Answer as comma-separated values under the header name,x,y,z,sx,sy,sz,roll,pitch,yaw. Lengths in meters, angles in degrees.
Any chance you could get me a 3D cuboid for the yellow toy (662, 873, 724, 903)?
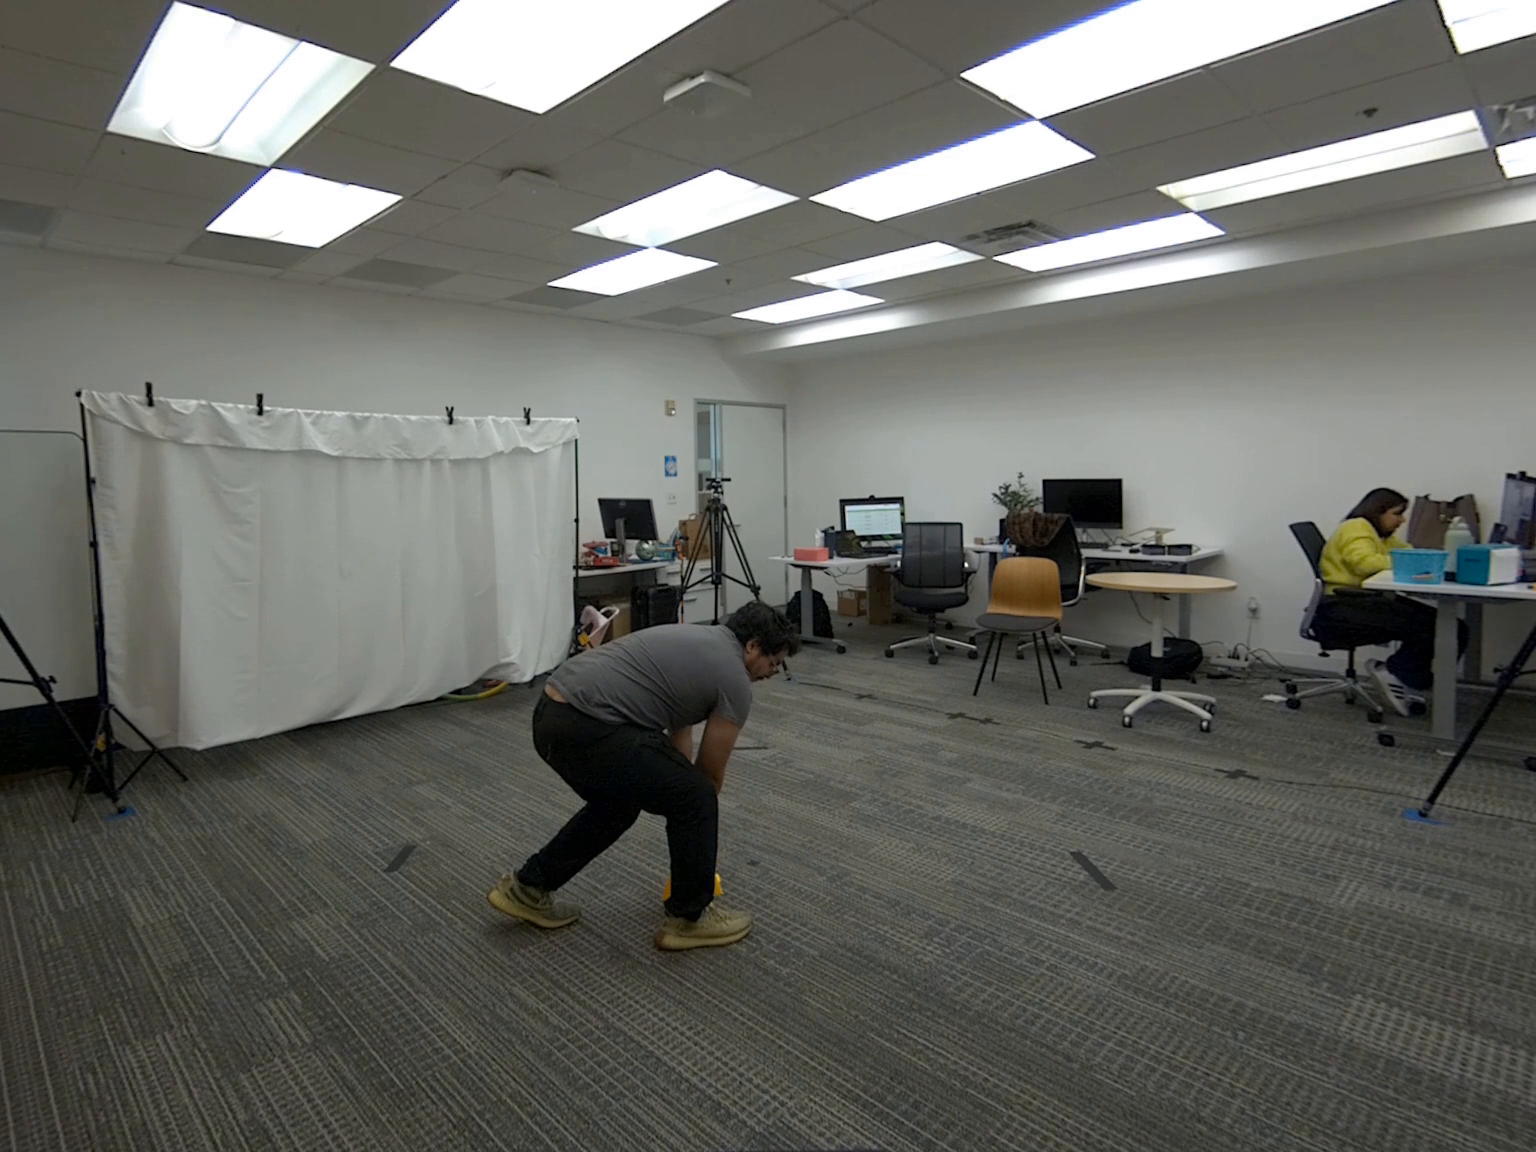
name,x,y,z,sx,sy,sz,roll,pitch,yaw
yellow toy,-0.243,0.972,2.798,0.191,0.229,0.208,-2,6,-11
